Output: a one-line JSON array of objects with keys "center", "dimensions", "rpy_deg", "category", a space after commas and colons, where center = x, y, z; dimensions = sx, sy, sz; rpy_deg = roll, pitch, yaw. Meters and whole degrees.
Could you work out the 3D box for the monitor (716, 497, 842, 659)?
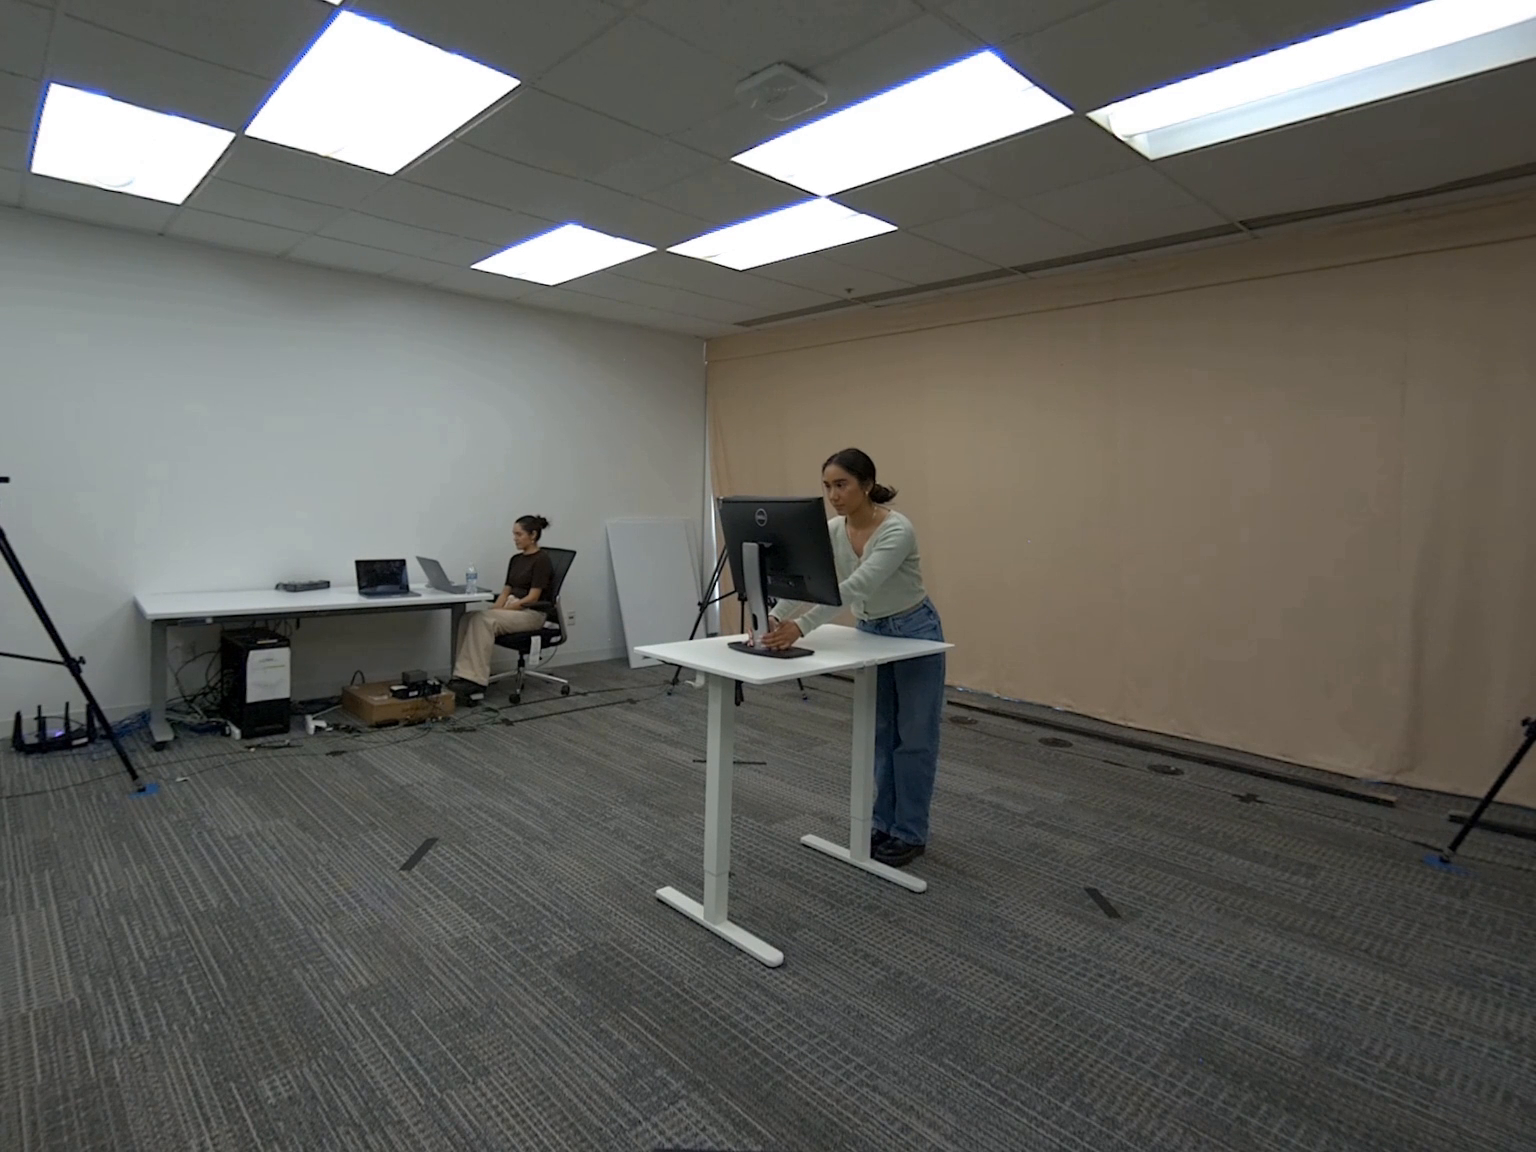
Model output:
[{"center": [-0.003, -0.003, 2.784], "dimensions": [0.183, 0.521, 0.552], "rpy_deg": [-1, 5, -37], "category": "monitor"}]
